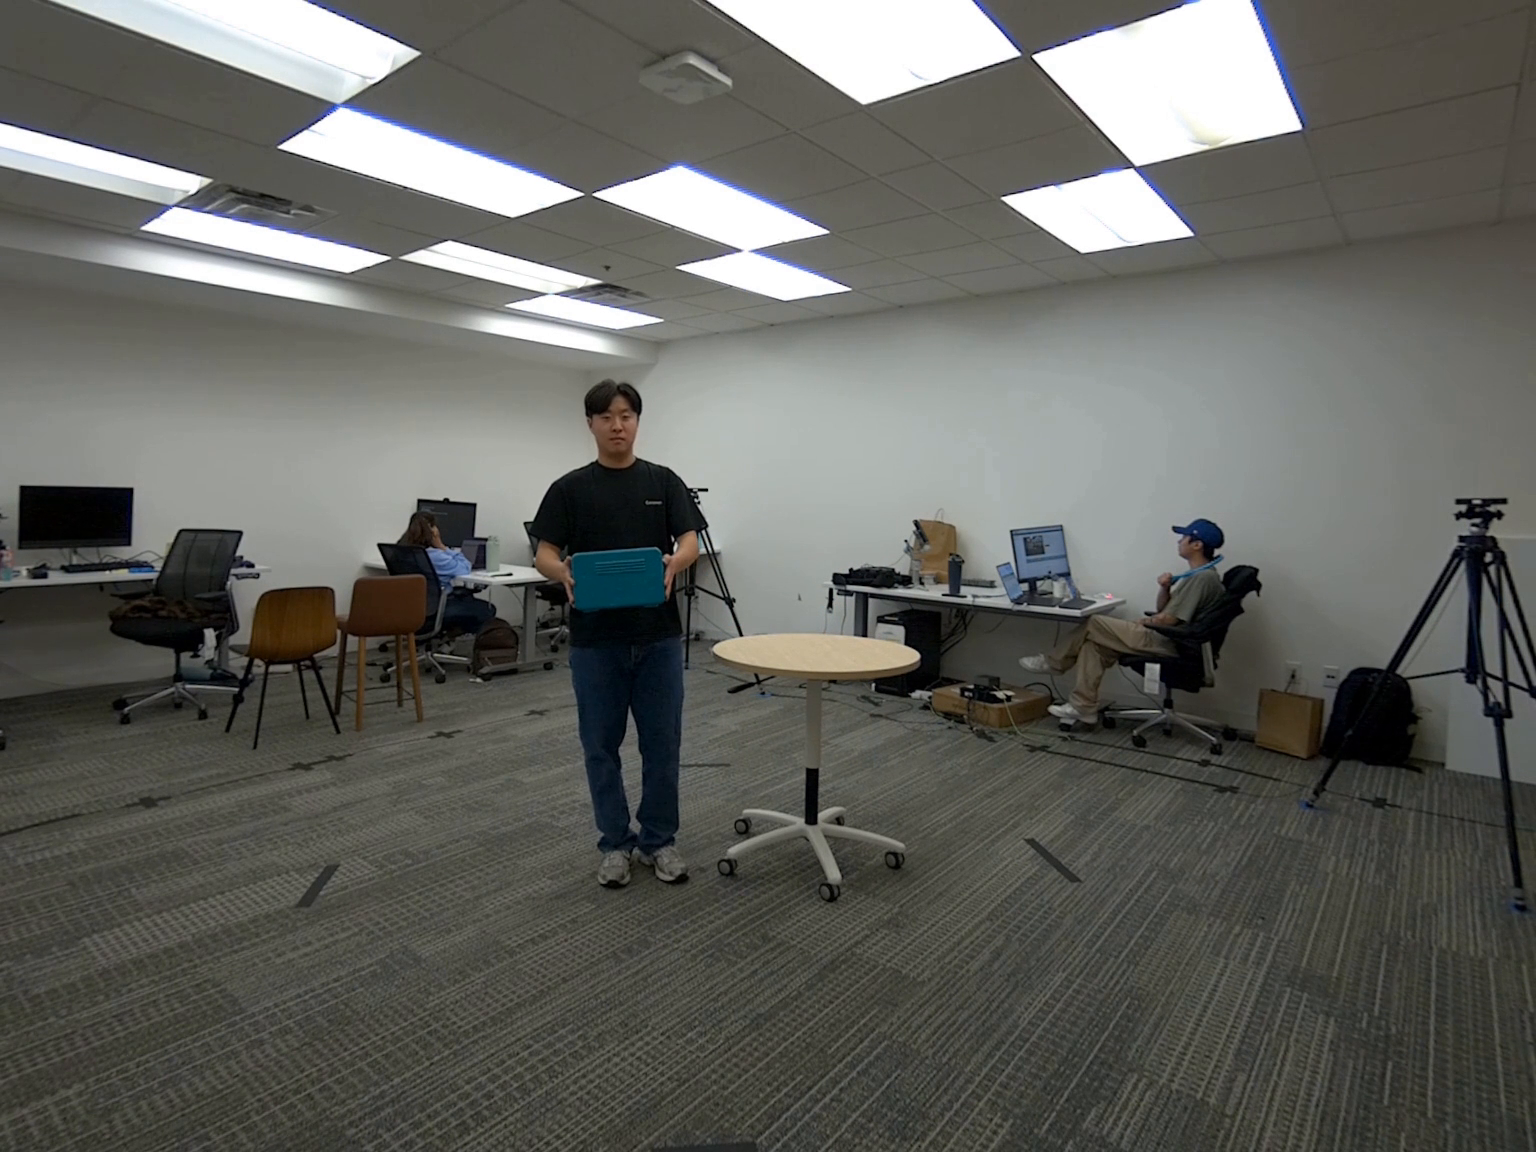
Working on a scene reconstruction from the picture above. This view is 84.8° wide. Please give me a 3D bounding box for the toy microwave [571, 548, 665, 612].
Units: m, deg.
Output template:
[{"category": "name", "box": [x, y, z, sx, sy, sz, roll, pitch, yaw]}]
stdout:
[{"category": "toy microwave", "box": [-0.487, 0.010, 2.676, 0.284, 0.184, 0.153, -5, 0, -6]}]
